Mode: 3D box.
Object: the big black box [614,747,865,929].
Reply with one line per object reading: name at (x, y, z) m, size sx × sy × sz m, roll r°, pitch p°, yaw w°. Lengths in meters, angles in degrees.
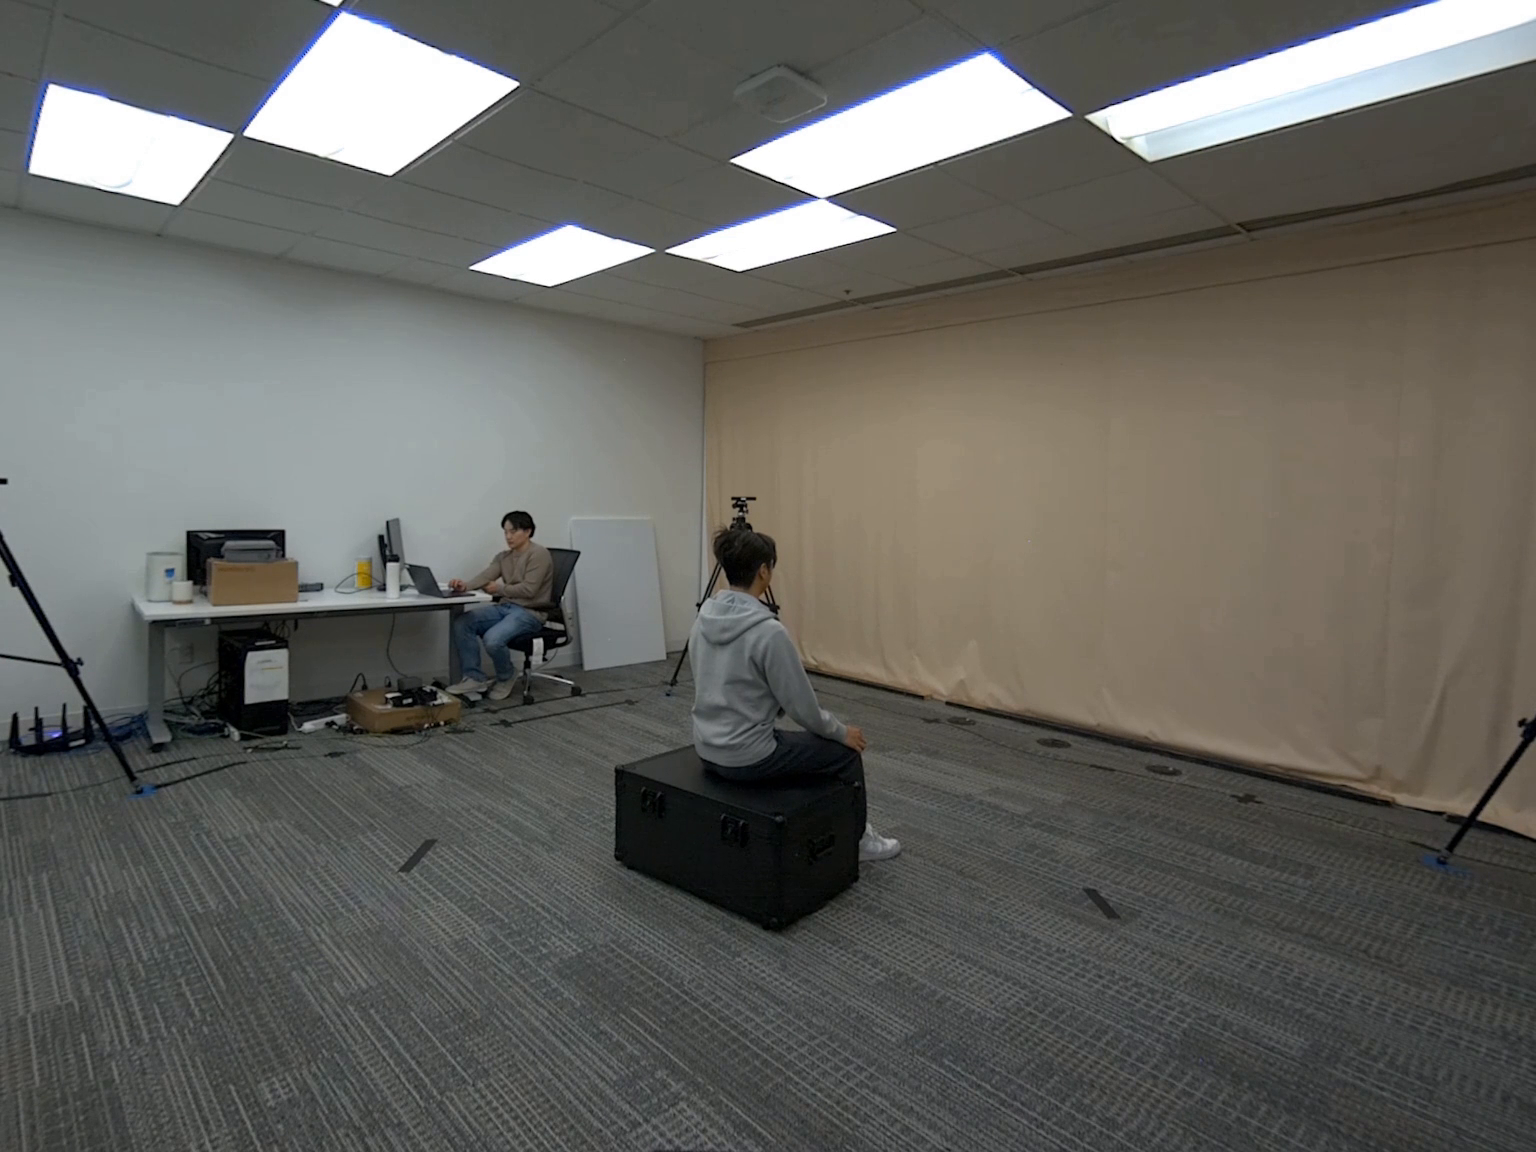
big black box at (-0.111, 0.927, 3.071) m, size 0.883 × 0.395 × 0.510 m, roll 5°, pitch 6°, yaw 40°
